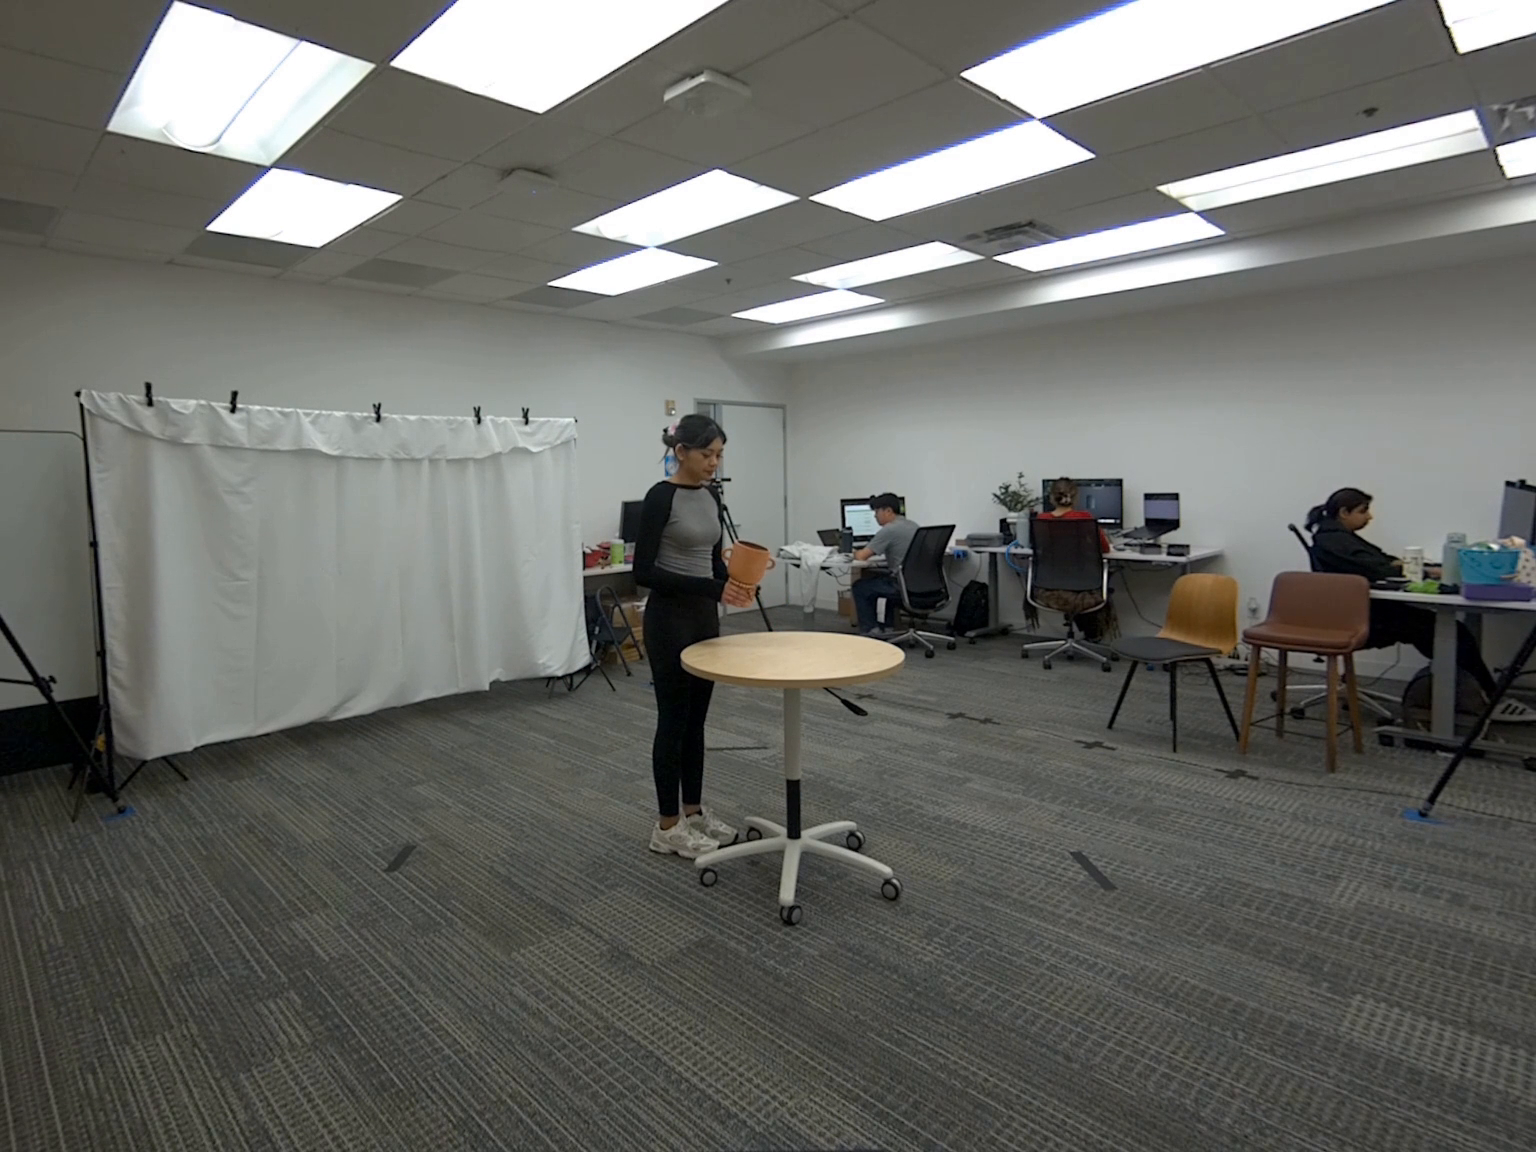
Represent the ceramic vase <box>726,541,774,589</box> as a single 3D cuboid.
[{"bbox_3d":[-0.085,-0.006,3.060,0.164,0.218,0.131,21,11,27],"label":"ceramic vase"}]
